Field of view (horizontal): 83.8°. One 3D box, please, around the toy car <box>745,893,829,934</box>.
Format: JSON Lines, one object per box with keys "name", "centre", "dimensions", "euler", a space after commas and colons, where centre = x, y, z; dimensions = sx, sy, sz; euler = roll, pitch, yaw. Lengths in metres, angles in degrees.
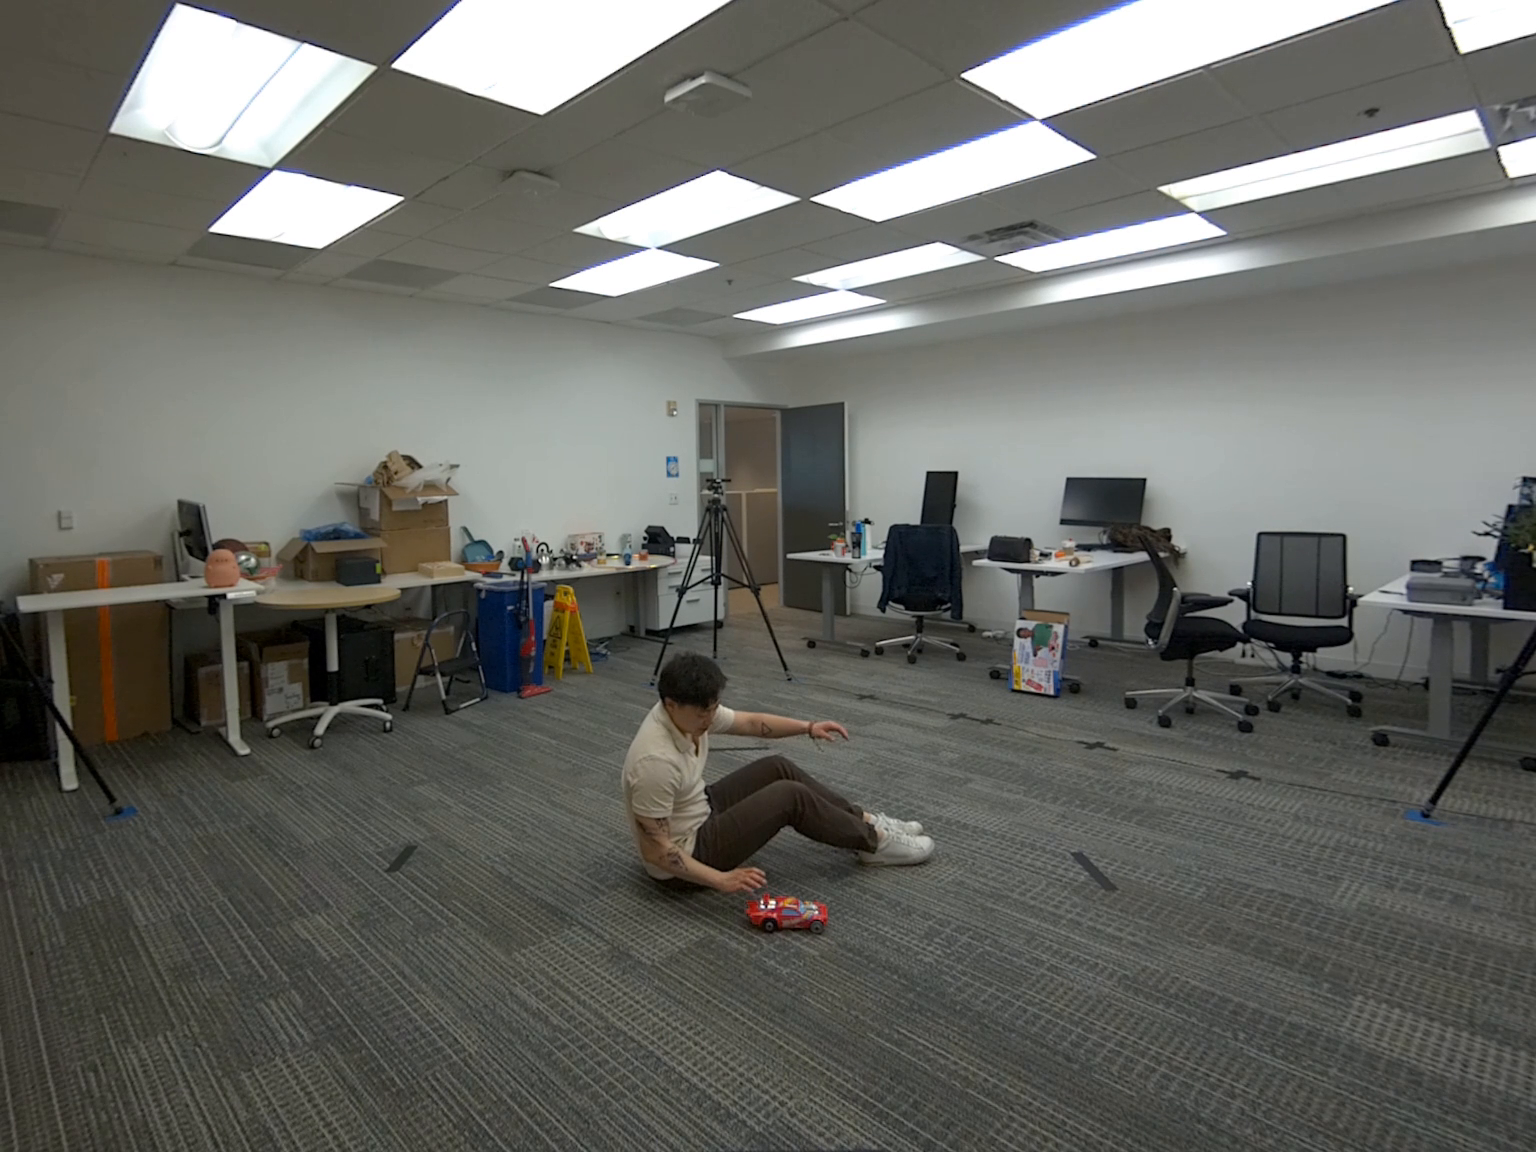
{"name": "toy car", "centre": [0.047, 1.061, 2.676], "dimensions": [0.255, 0.083, 0.130], "euler": [9, 6, 3]}
